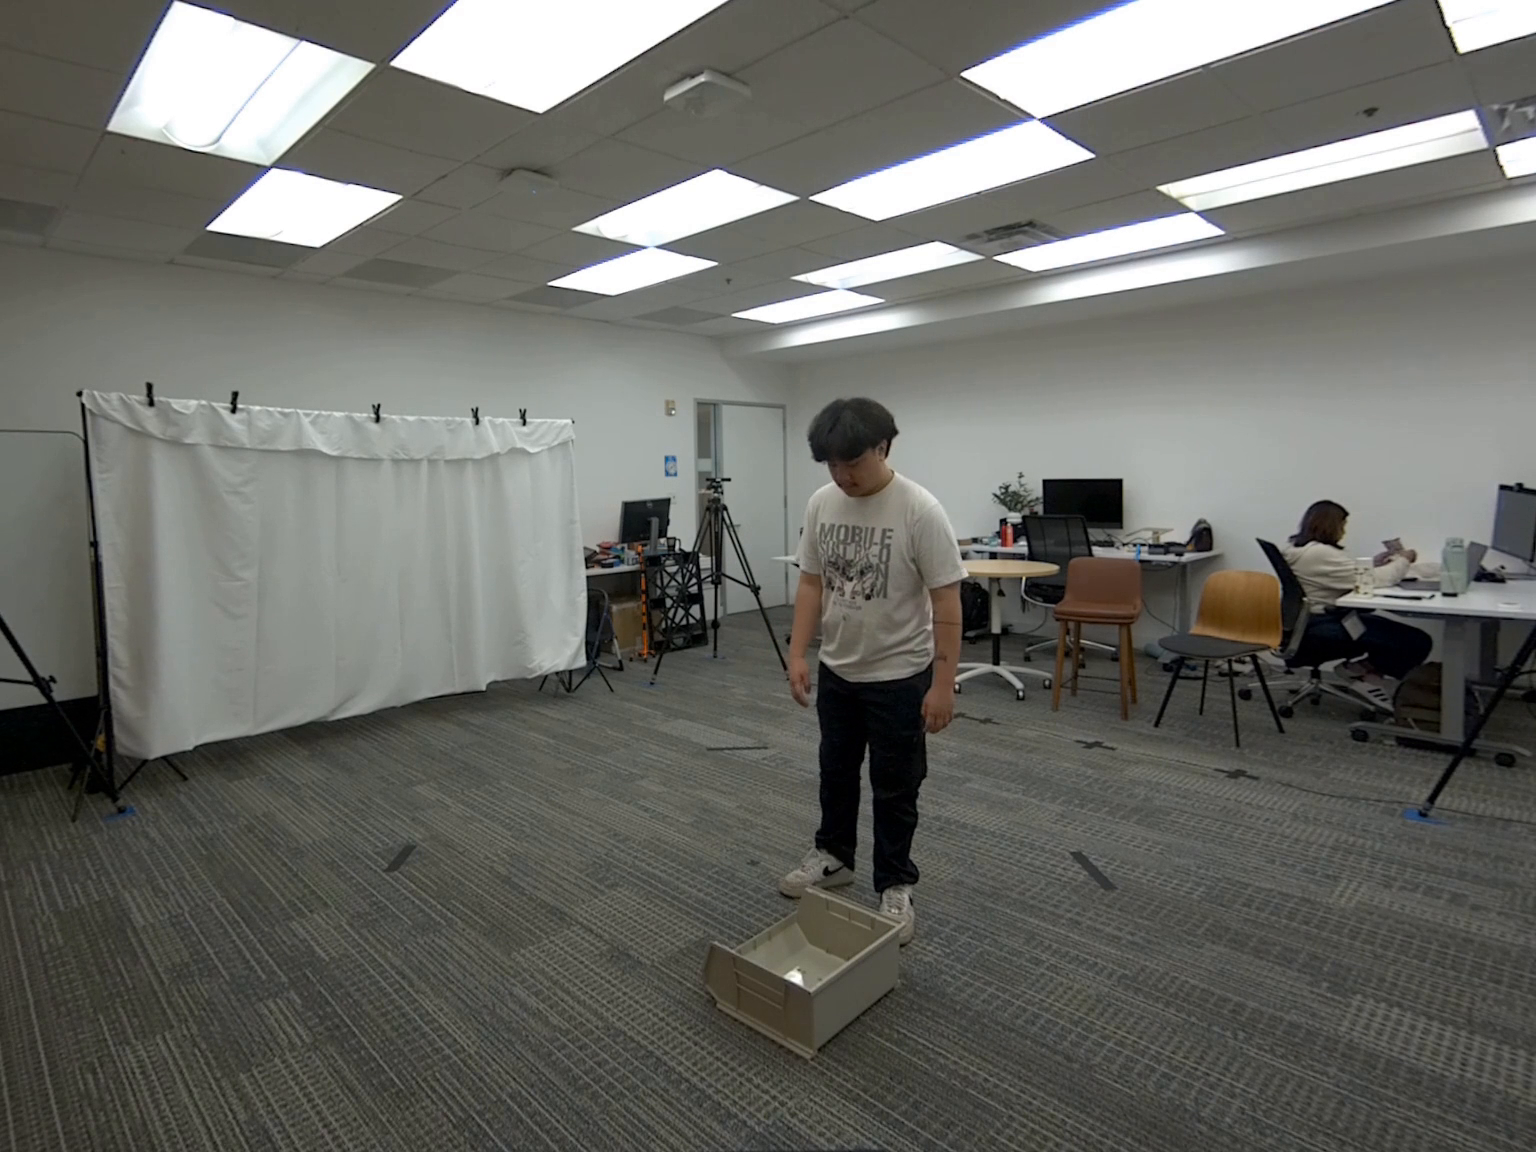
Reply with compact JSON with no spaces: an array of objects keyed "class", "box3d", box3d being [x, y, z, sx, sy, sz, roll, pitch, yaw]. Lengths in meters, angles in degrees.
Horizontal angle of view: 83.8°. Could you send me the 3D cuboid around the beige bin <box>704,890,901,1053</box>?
[{"class":"beige bin","box3d":[0.106,1.048,2.310,0.389,0.188,0.411,5,8,42]}]
